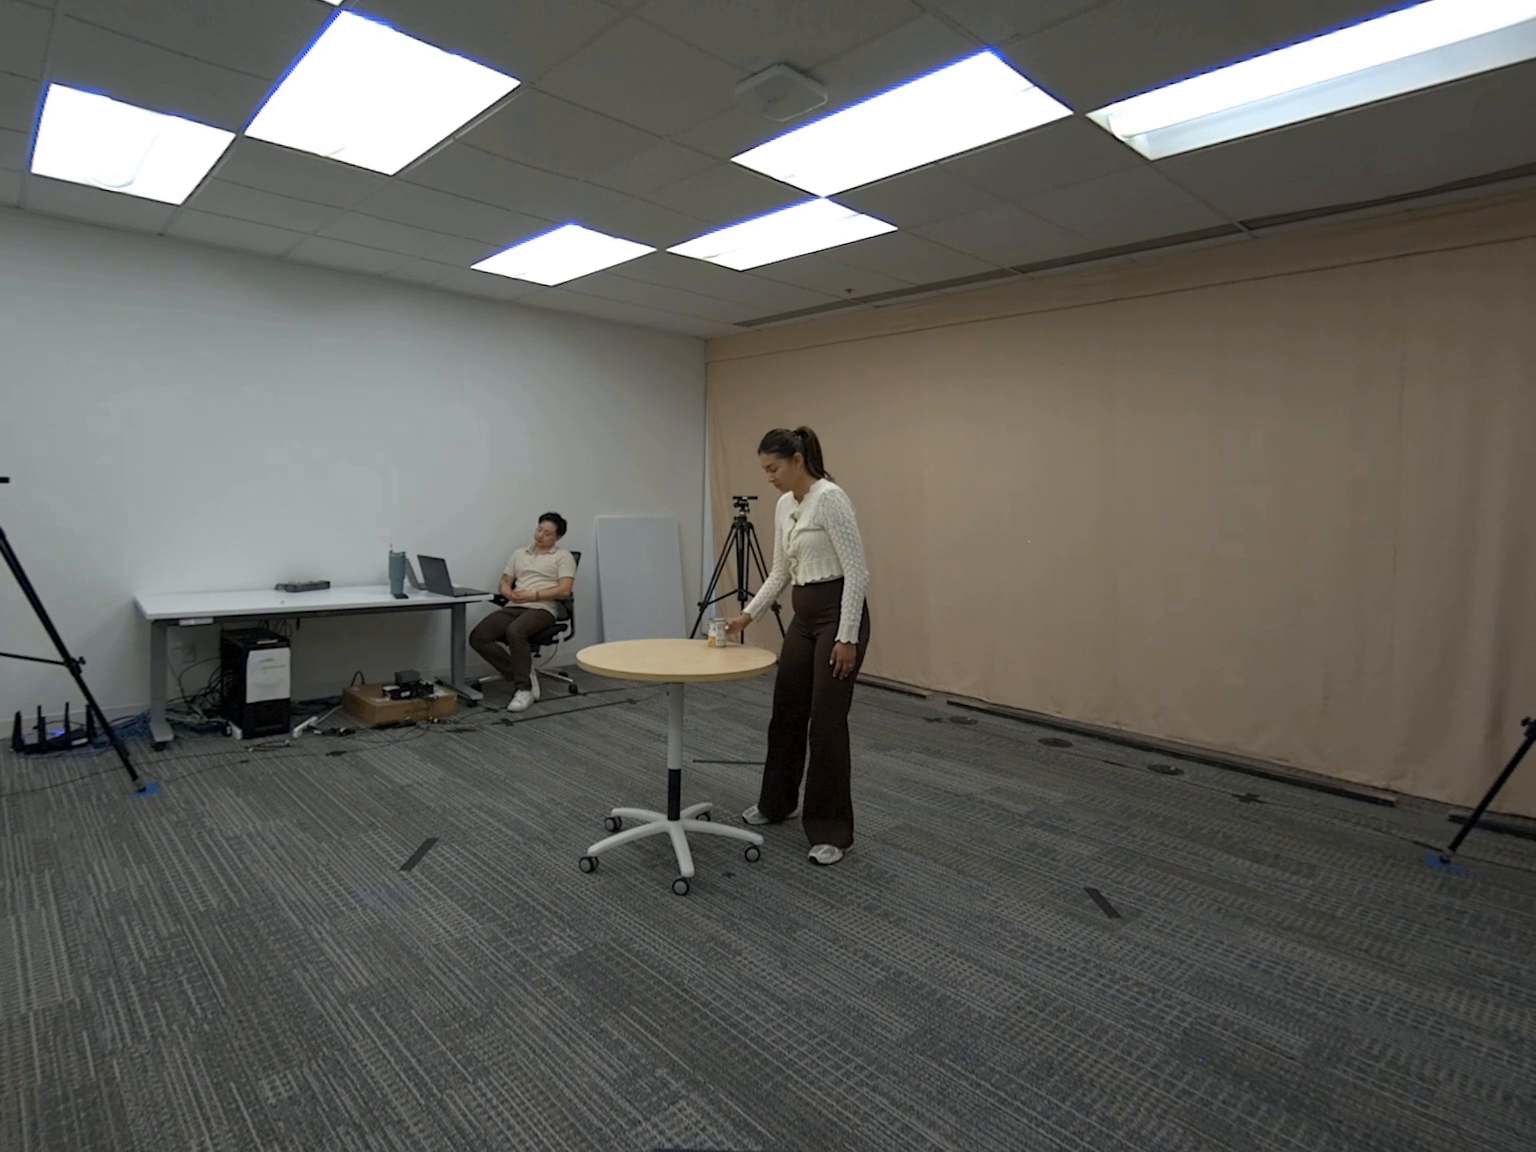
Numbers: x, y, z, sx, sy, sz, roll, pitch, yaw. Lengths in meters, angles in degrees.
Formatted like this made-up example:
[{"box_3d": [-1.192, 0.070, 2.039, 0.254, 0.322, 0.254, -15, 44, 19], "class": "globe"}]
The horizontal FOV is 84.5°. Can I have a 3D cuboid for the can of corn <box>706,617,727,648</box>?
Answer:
[{"box_3d": [-0.212, 0.234, 3.454, 0.074, 0.110, 0.074, 3, 7, -2], "class": "can of corn"}]
